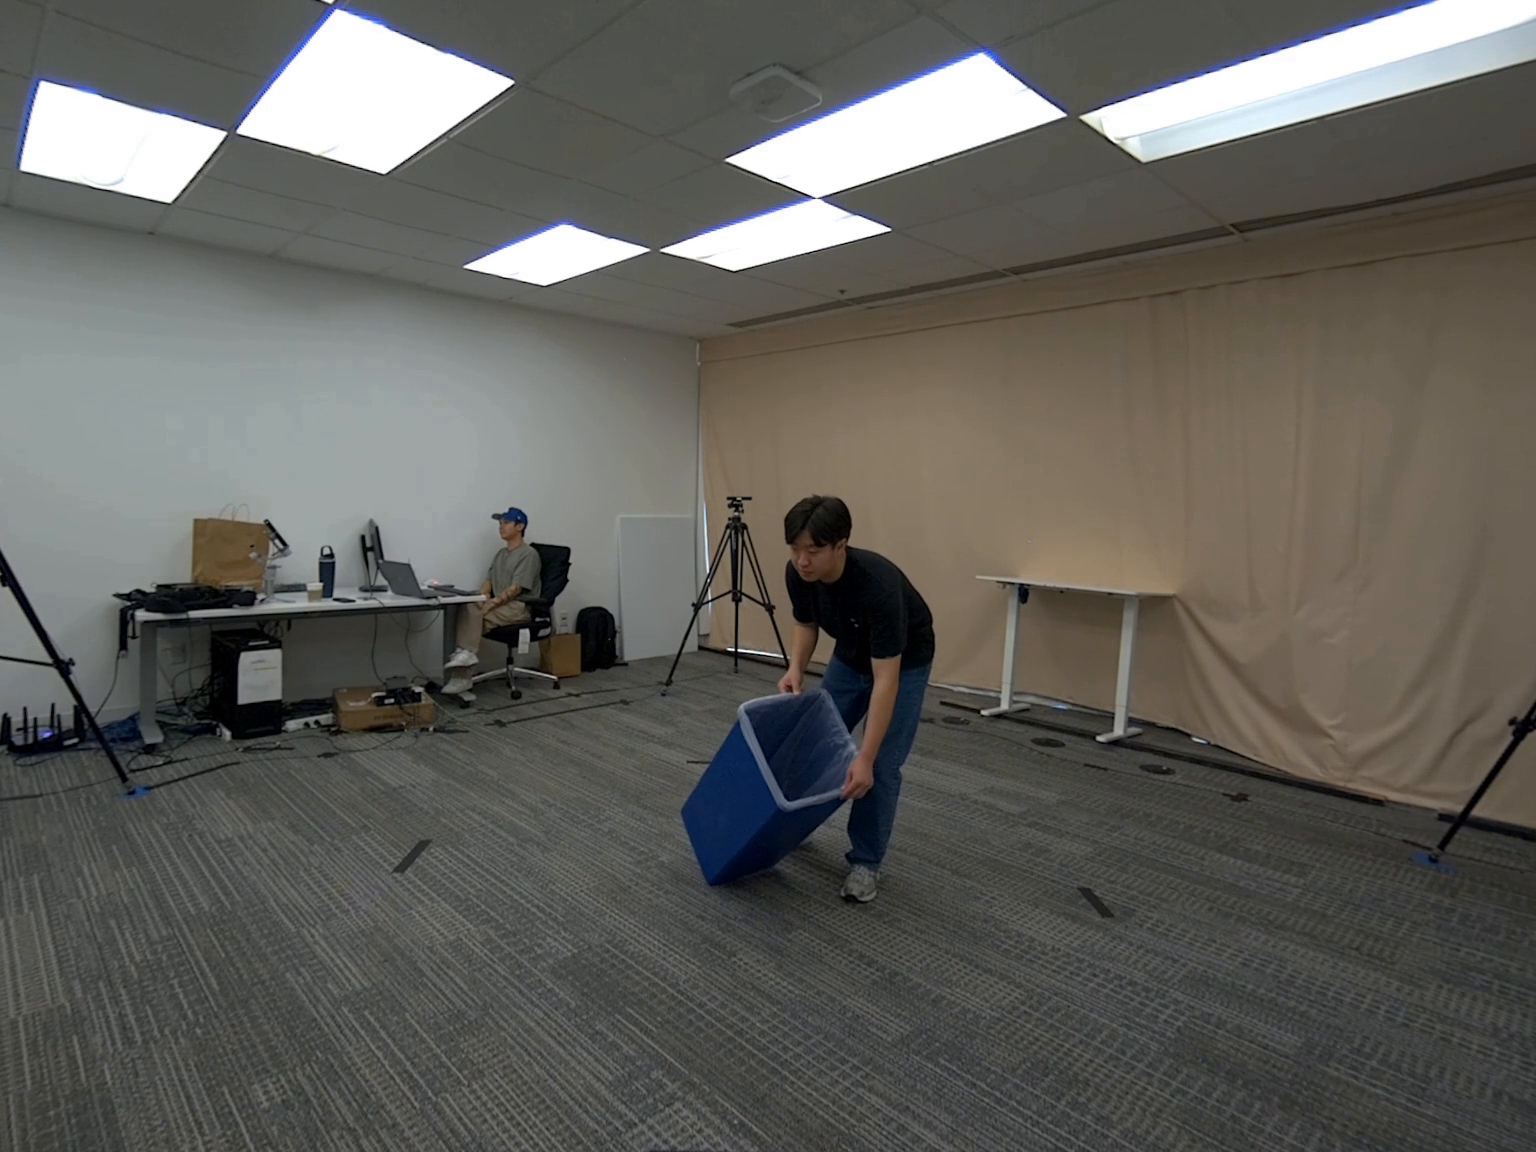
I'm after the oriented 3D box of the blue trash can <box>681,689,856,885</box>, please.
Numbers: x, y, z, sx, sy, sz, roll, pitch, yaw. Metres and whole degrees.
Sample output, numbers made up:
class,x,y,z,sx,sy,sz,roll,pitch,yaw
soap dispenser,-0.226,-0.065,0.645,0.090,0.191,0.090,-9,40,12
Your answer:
class,x,y,z,sx,sy,sz,roll,pitch,yaw
blue trash can,-0.020,0.766,2.929,0.366,0.388,0.708,-4,-39,-33
